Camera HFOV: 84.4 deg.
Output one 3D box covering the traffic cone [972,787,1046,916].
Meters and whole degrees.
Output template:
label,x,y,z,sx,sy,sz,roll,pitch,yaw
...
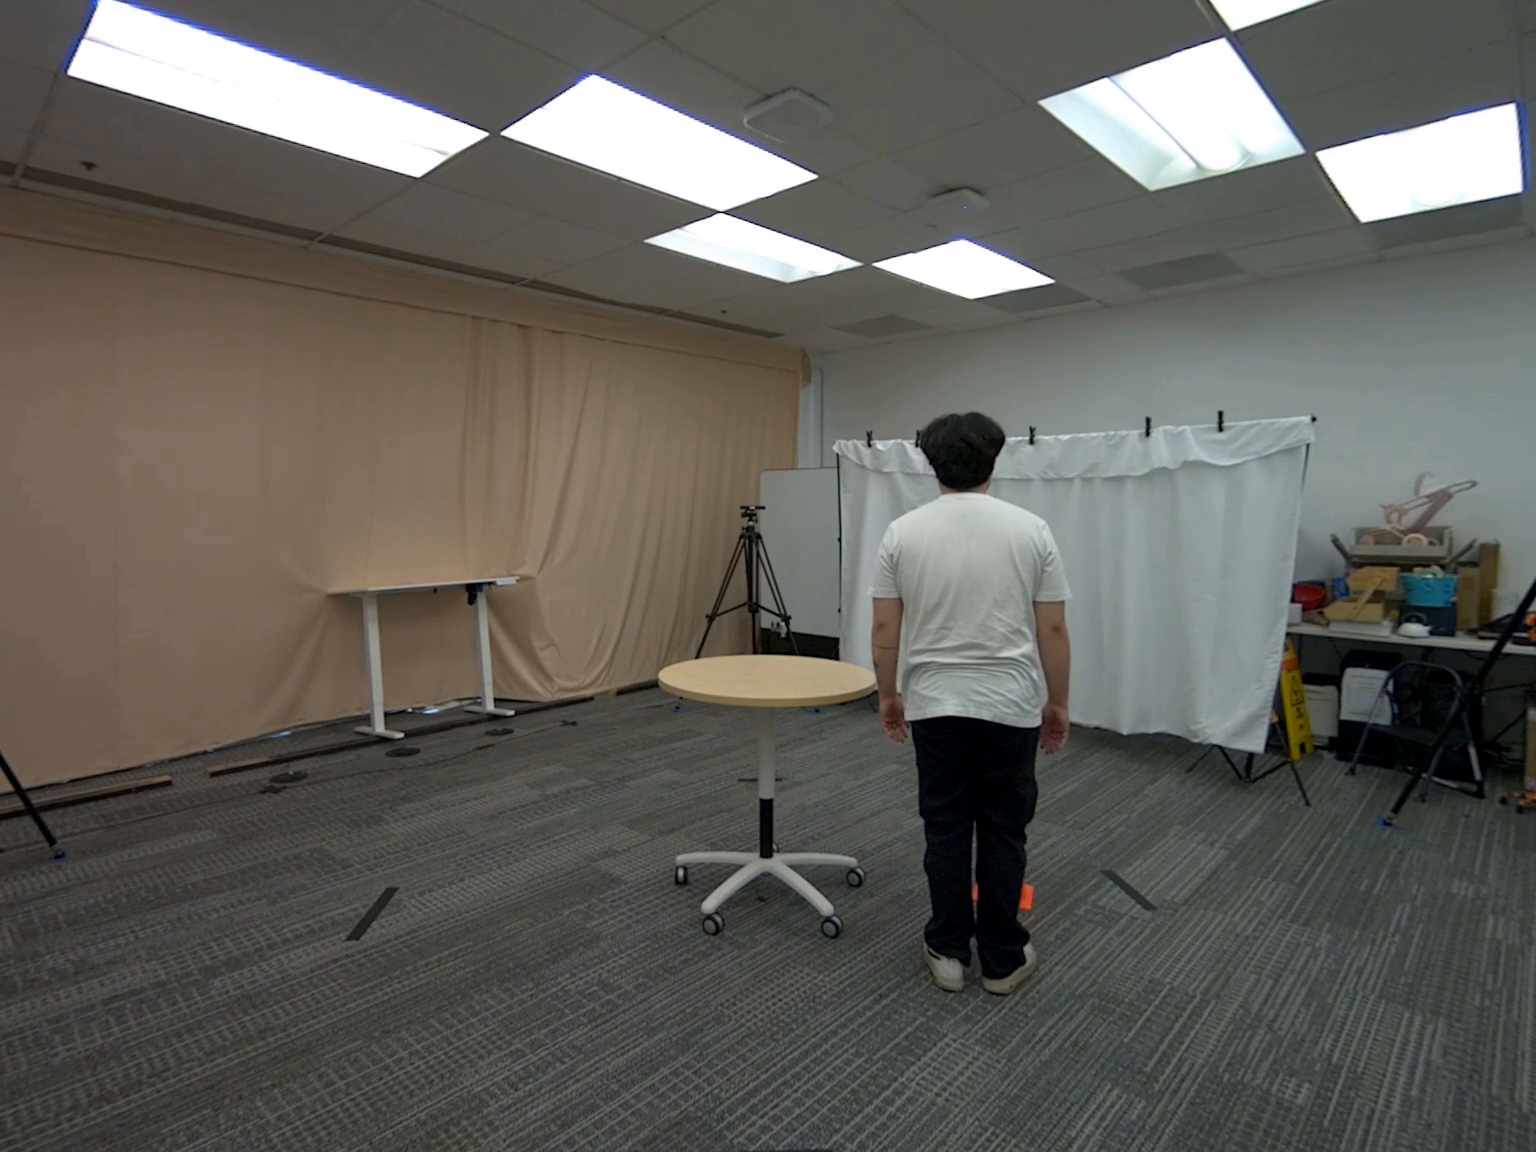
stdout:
label,x,y,z,sx,sy,sz,roll,pitch,yaw
traffic cone,0.857,0.954,3.016,0.209,0.383,0.199,1,2,31
